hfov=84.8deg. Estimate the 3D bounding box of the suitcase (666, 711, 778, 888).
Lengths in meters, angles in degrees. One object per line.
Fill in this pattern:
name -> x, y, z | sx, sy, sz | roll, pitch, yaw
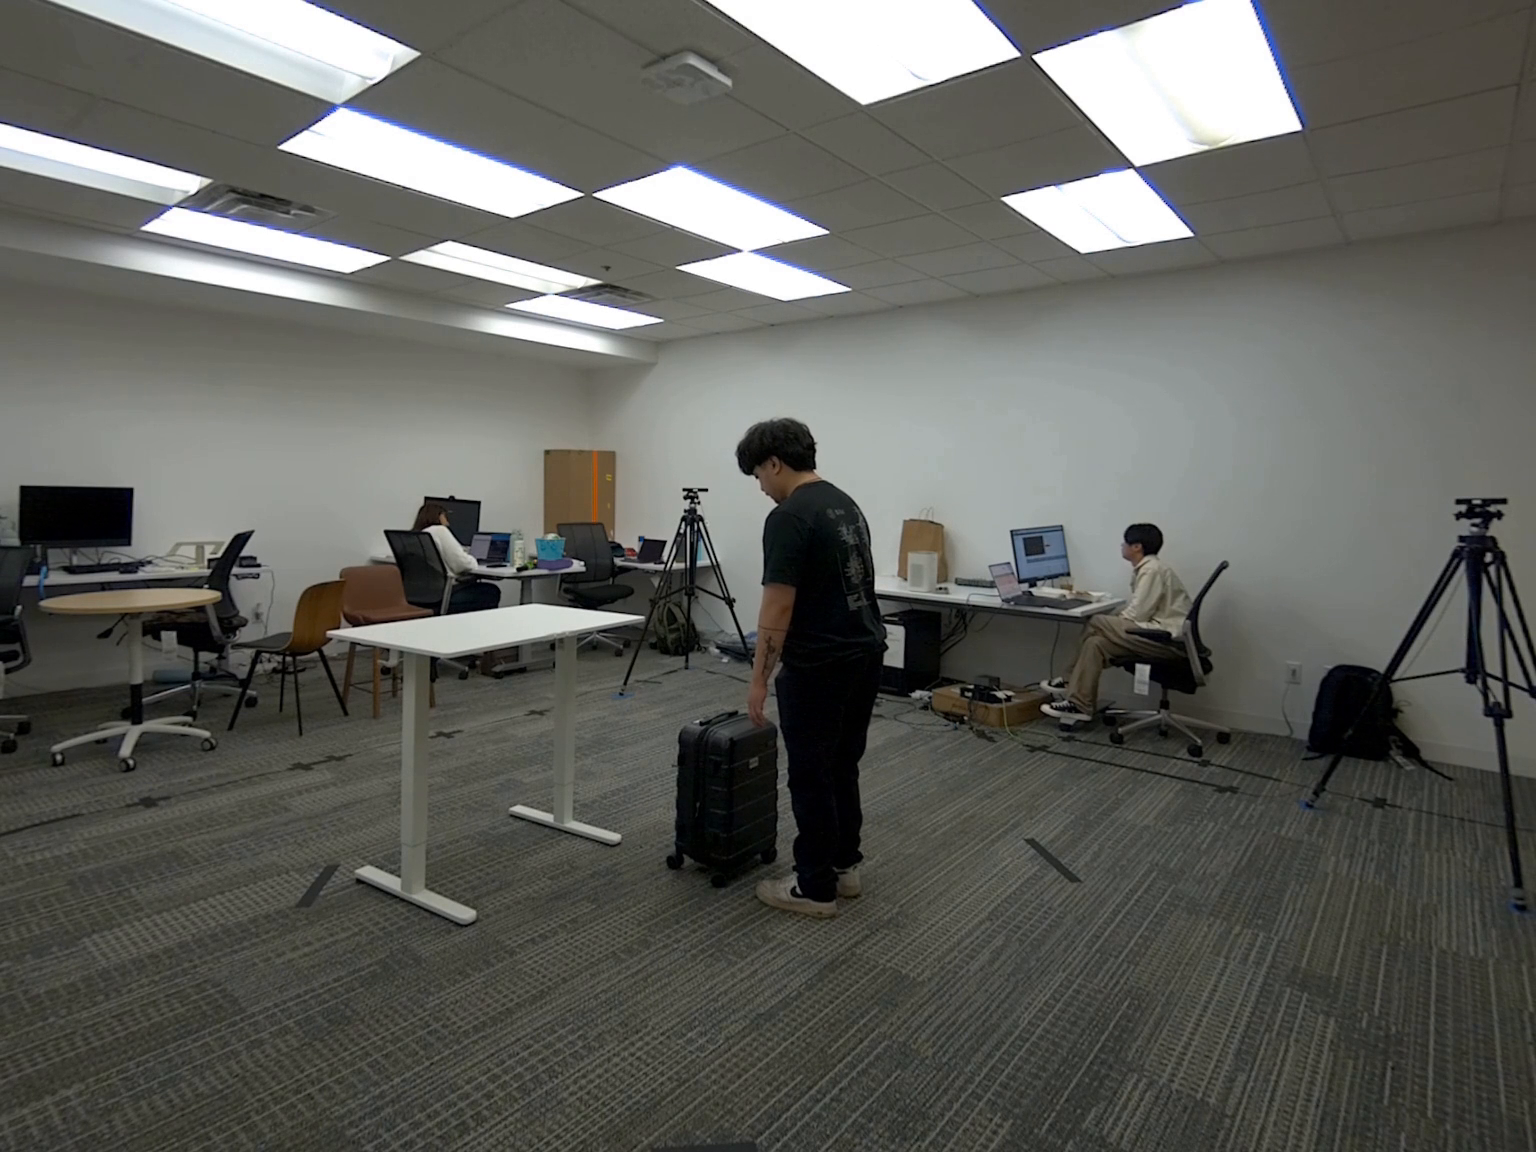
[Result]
suitcase -> -0.160, 0.794, 3.148 | 0.256, 0.548, 0.364 | 3, 4, 37
